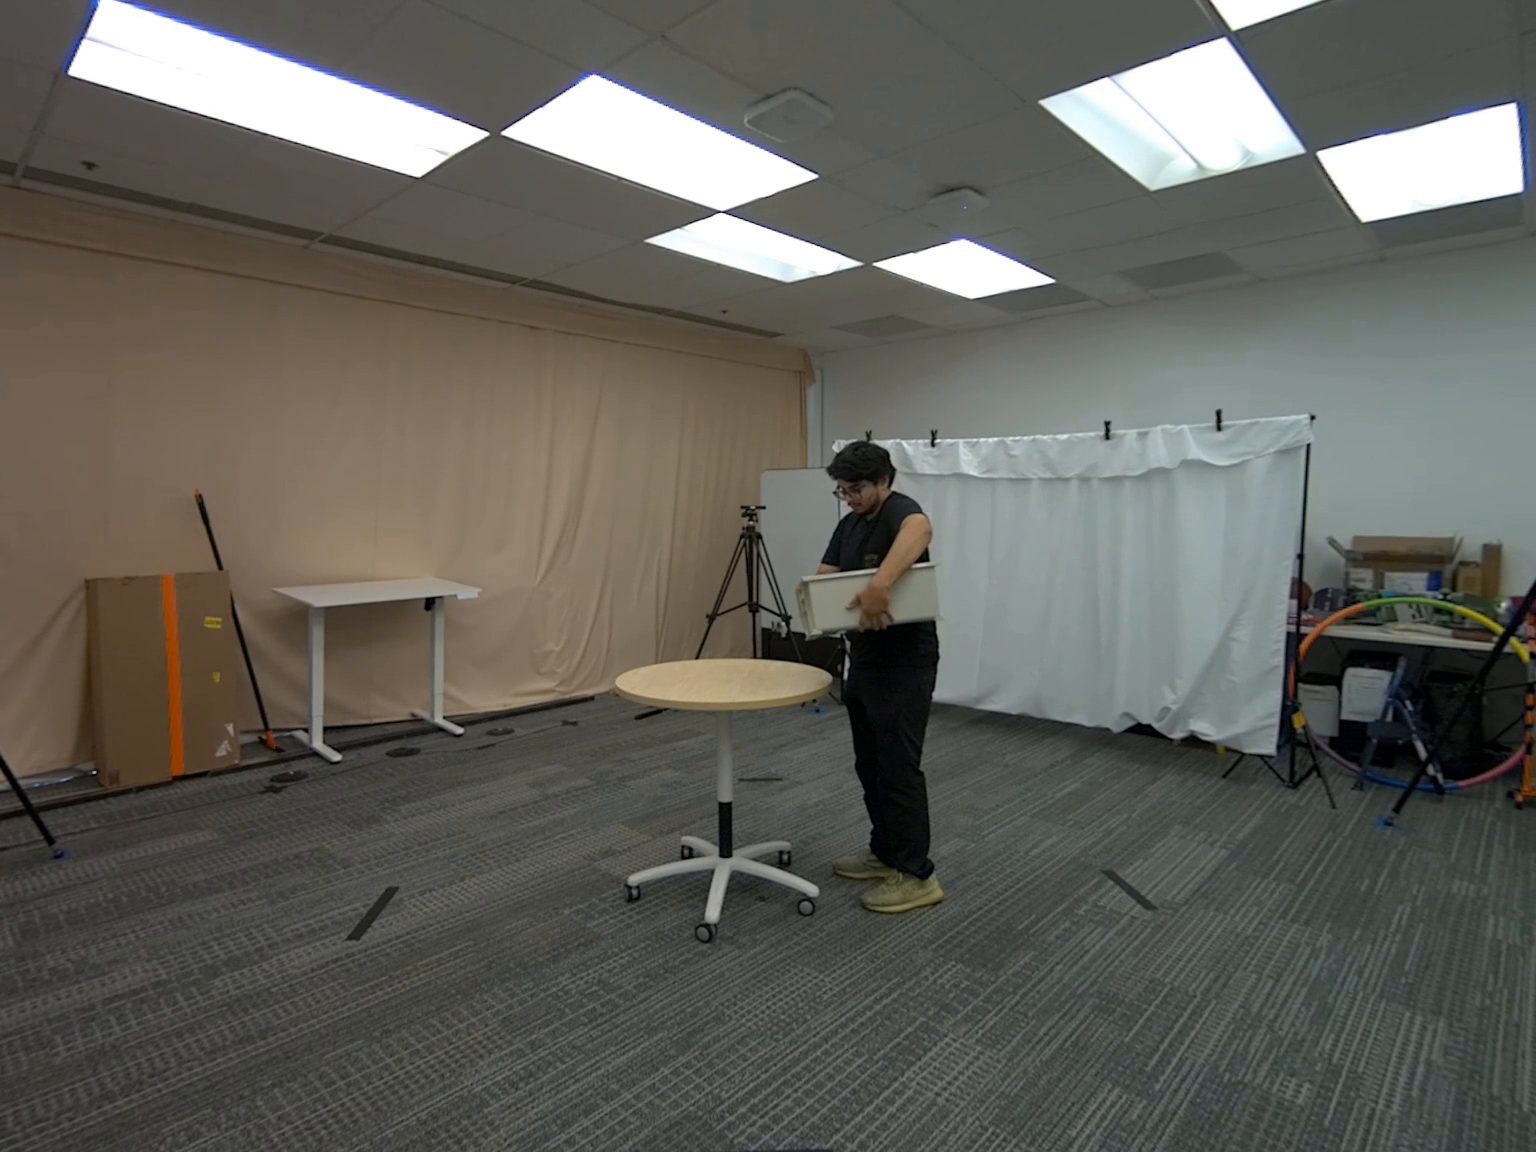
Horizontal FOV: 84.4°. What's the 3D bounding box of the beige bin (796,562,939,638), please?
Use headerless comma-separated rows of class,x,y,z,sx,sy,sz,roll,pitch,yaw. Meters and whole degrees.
beige bin,0.322,0.089,2.758,0.422,0.190,0.376,-6,-5,-1
